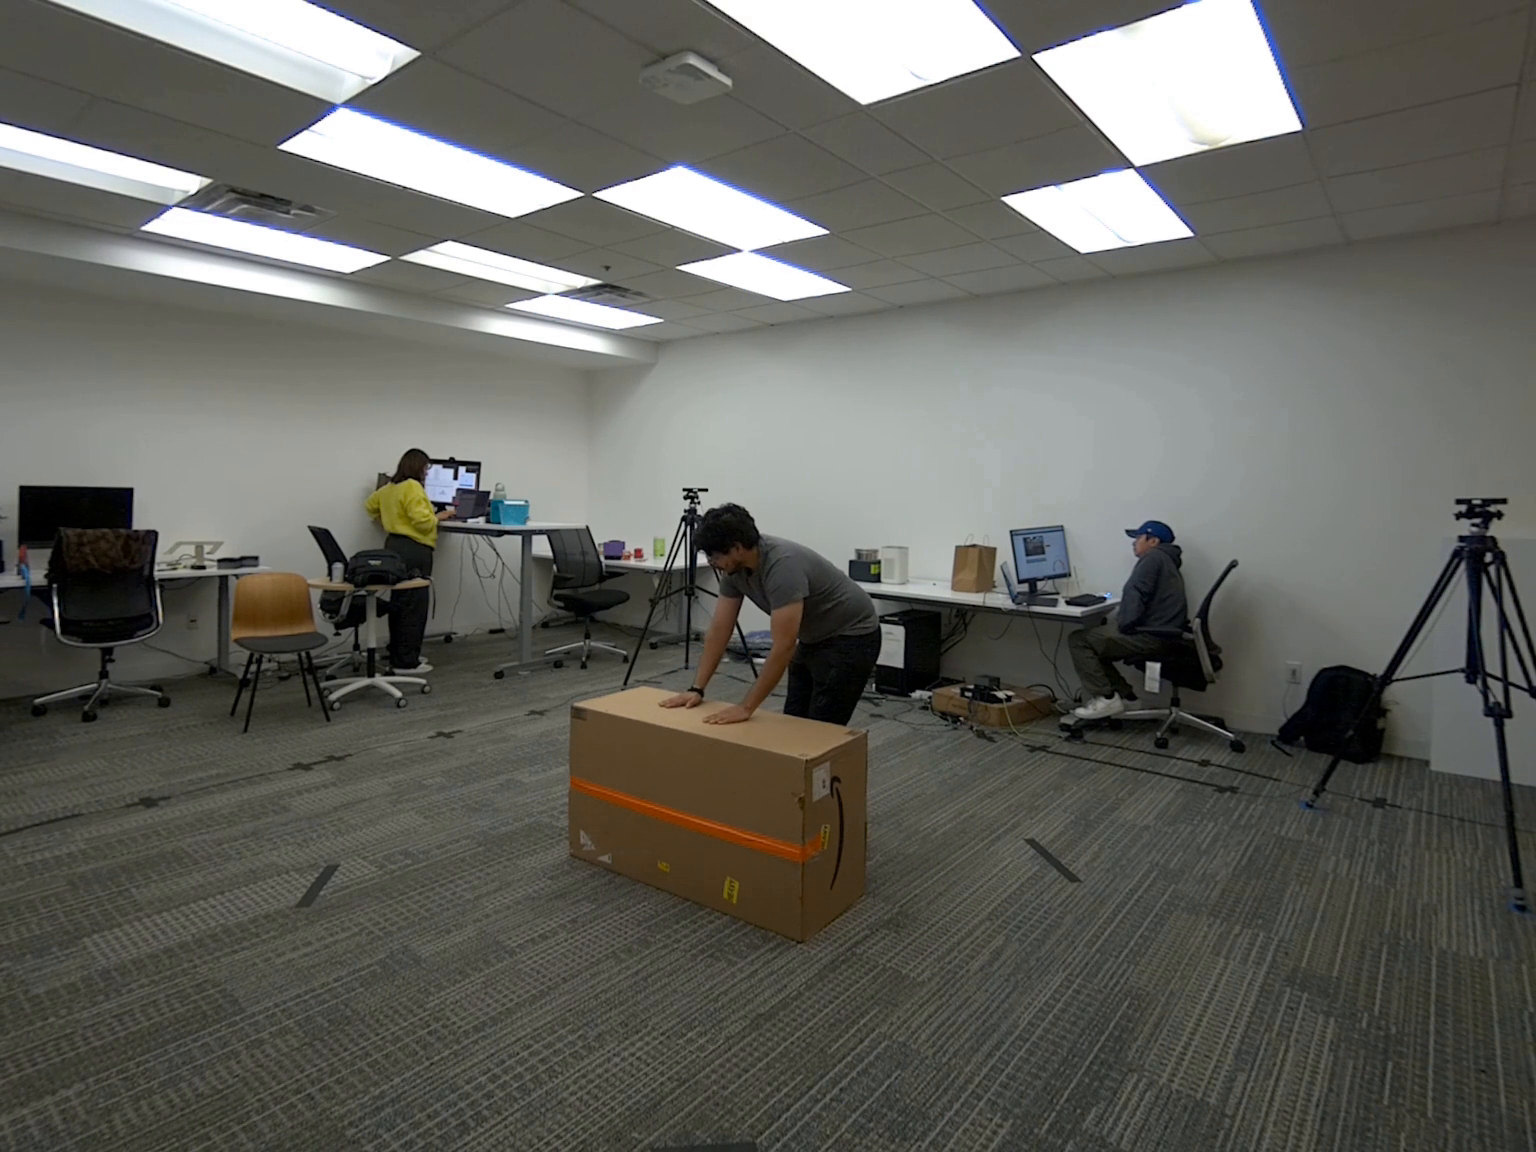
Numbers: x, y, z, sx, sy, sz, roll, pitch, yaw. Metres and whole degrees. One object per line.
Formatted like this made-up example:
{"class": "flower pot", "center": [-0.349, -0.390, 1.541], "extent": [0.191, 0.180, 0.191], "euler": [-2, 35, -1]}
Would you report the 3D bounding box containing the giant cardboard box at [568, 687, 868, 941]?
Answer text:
{"class": "giant cardboard box", "center": [-0.215, 0.786, 3.054], "extent": [1.059, 0.576, 0.414], "euler": [4, 4, 35]}
